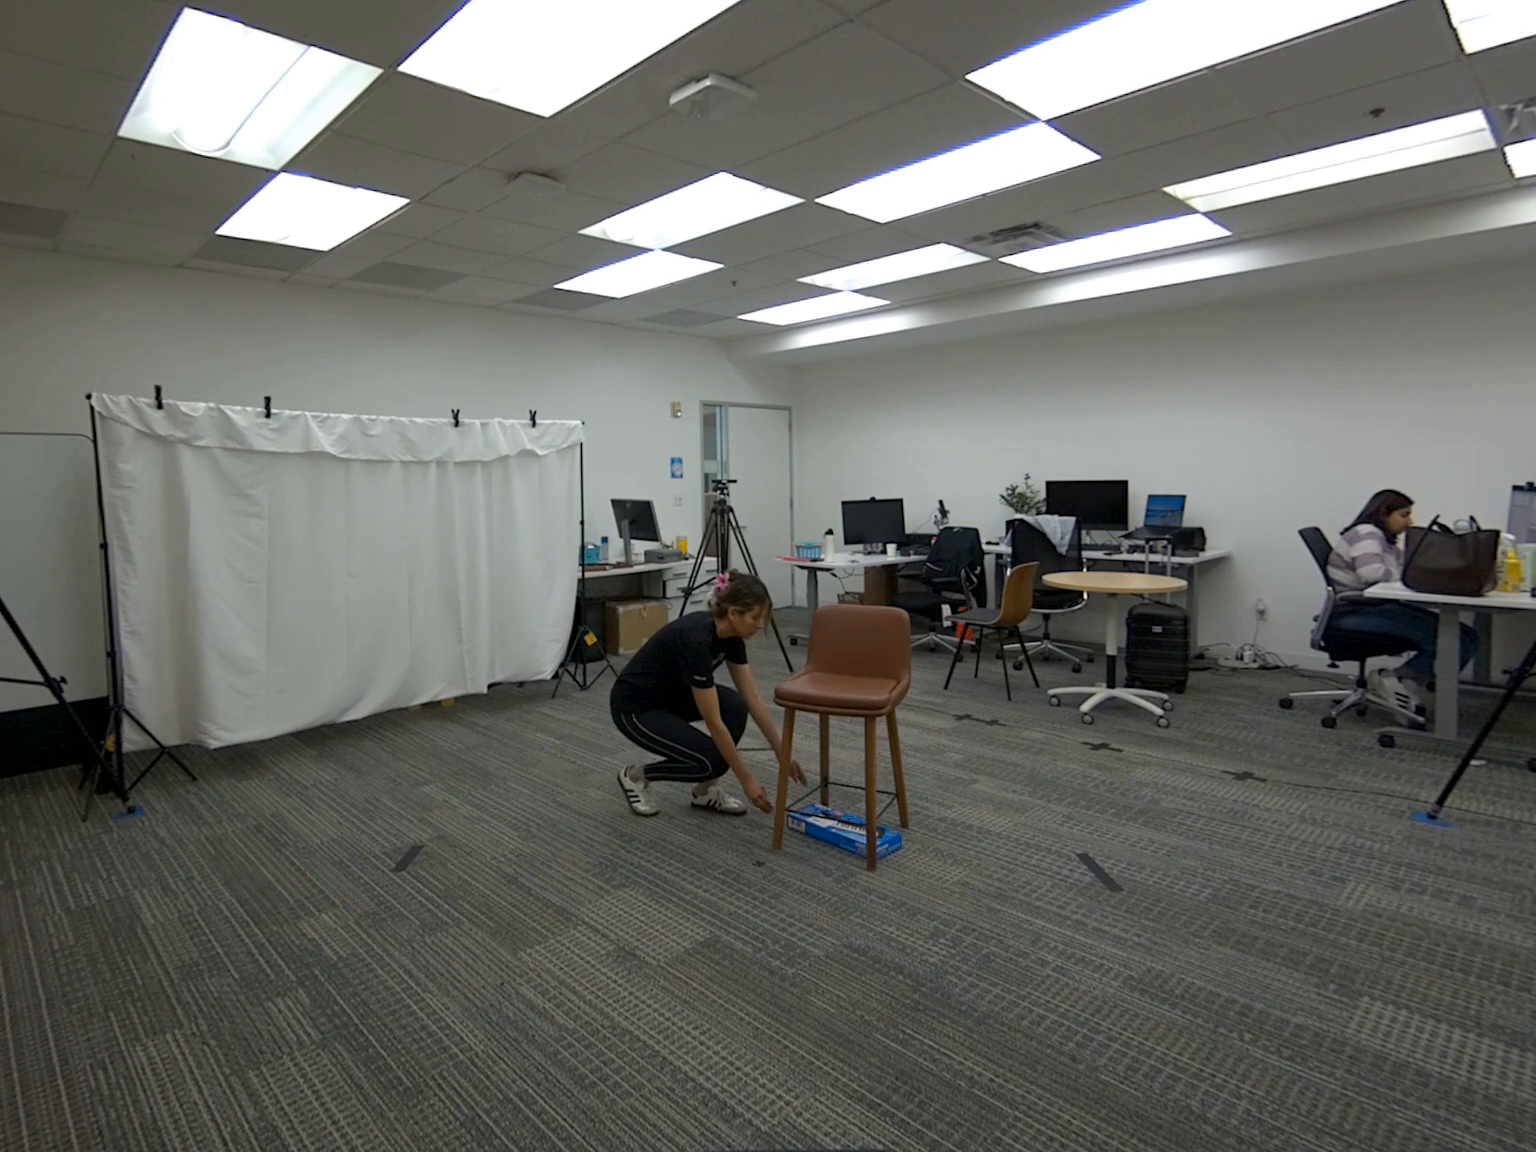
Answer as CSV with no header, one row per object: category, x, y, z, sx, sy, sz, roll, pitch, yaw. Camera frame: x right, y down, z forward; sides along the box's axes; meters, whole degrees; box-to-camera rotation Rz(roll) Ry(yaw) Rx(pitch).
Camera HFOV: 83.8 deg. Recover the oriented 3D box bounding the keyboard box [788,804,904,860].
keyboard box,0.292,0.992,3.320,0.171,0.059,0.450,-7,8,-43
